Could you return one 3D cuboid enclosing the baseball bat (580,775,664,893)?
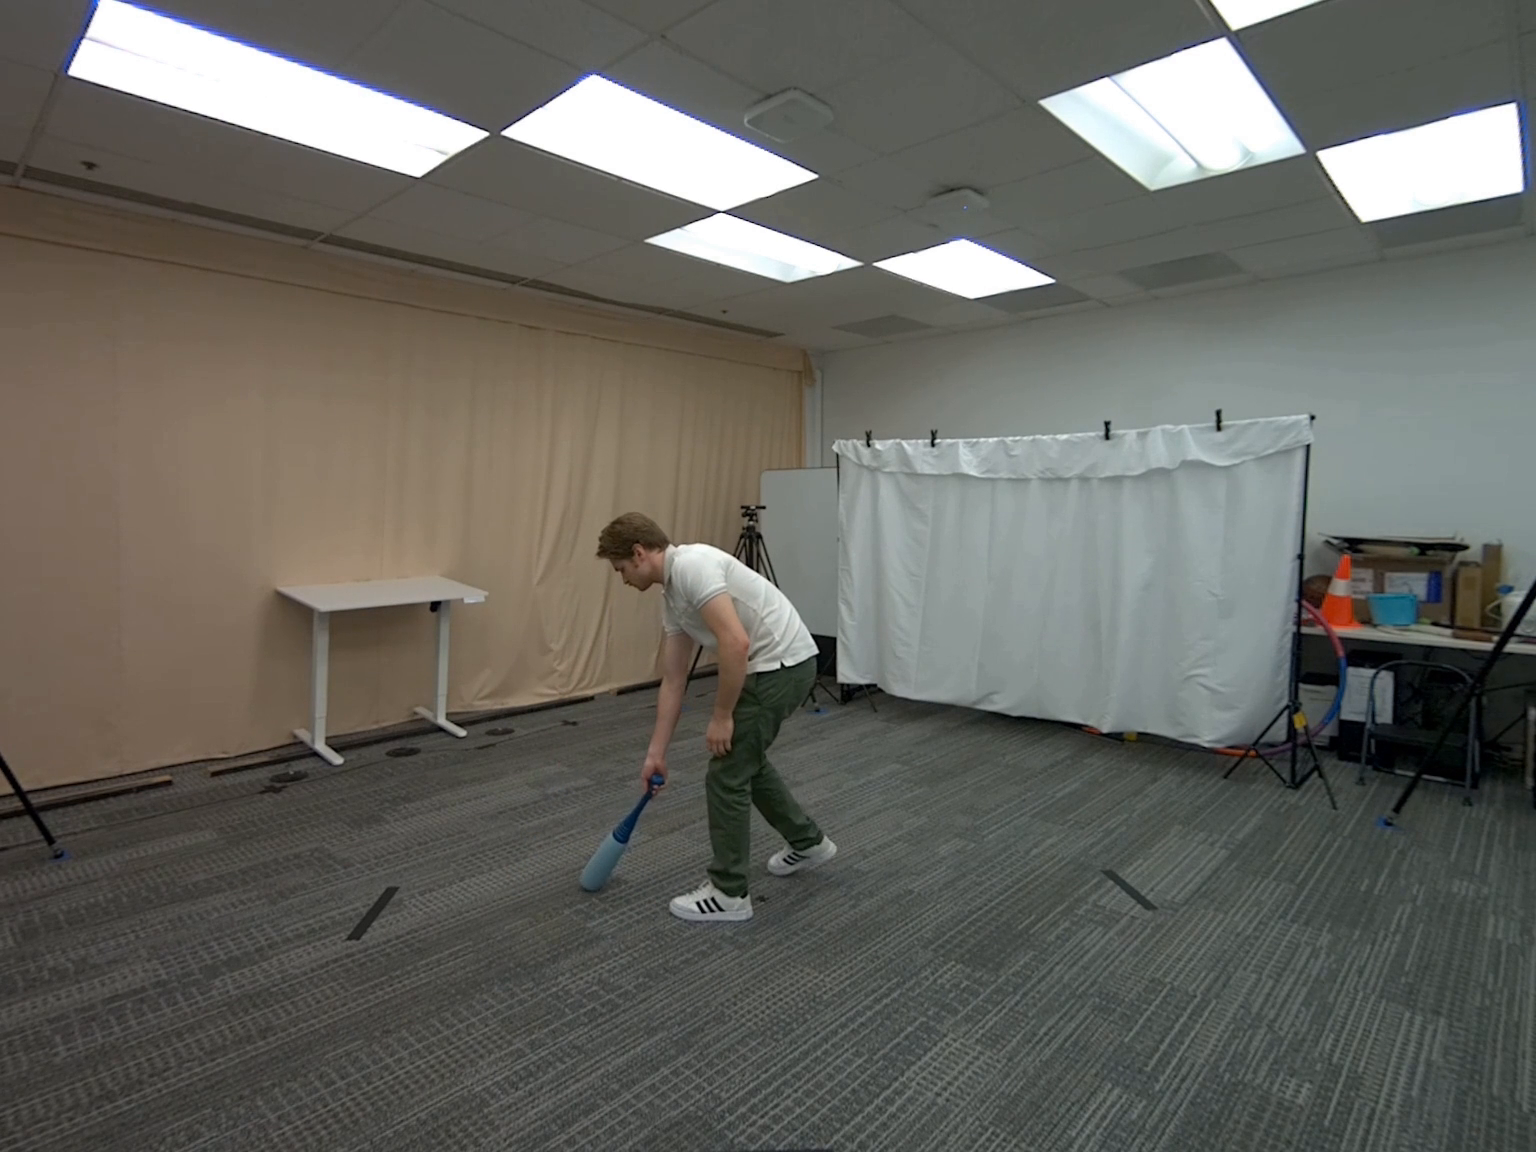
[{"bbox_3d":[-0.505,0.916,2.989,0.088,0.544,0.090,30,19,-14],"label":"baseball bat"}]
